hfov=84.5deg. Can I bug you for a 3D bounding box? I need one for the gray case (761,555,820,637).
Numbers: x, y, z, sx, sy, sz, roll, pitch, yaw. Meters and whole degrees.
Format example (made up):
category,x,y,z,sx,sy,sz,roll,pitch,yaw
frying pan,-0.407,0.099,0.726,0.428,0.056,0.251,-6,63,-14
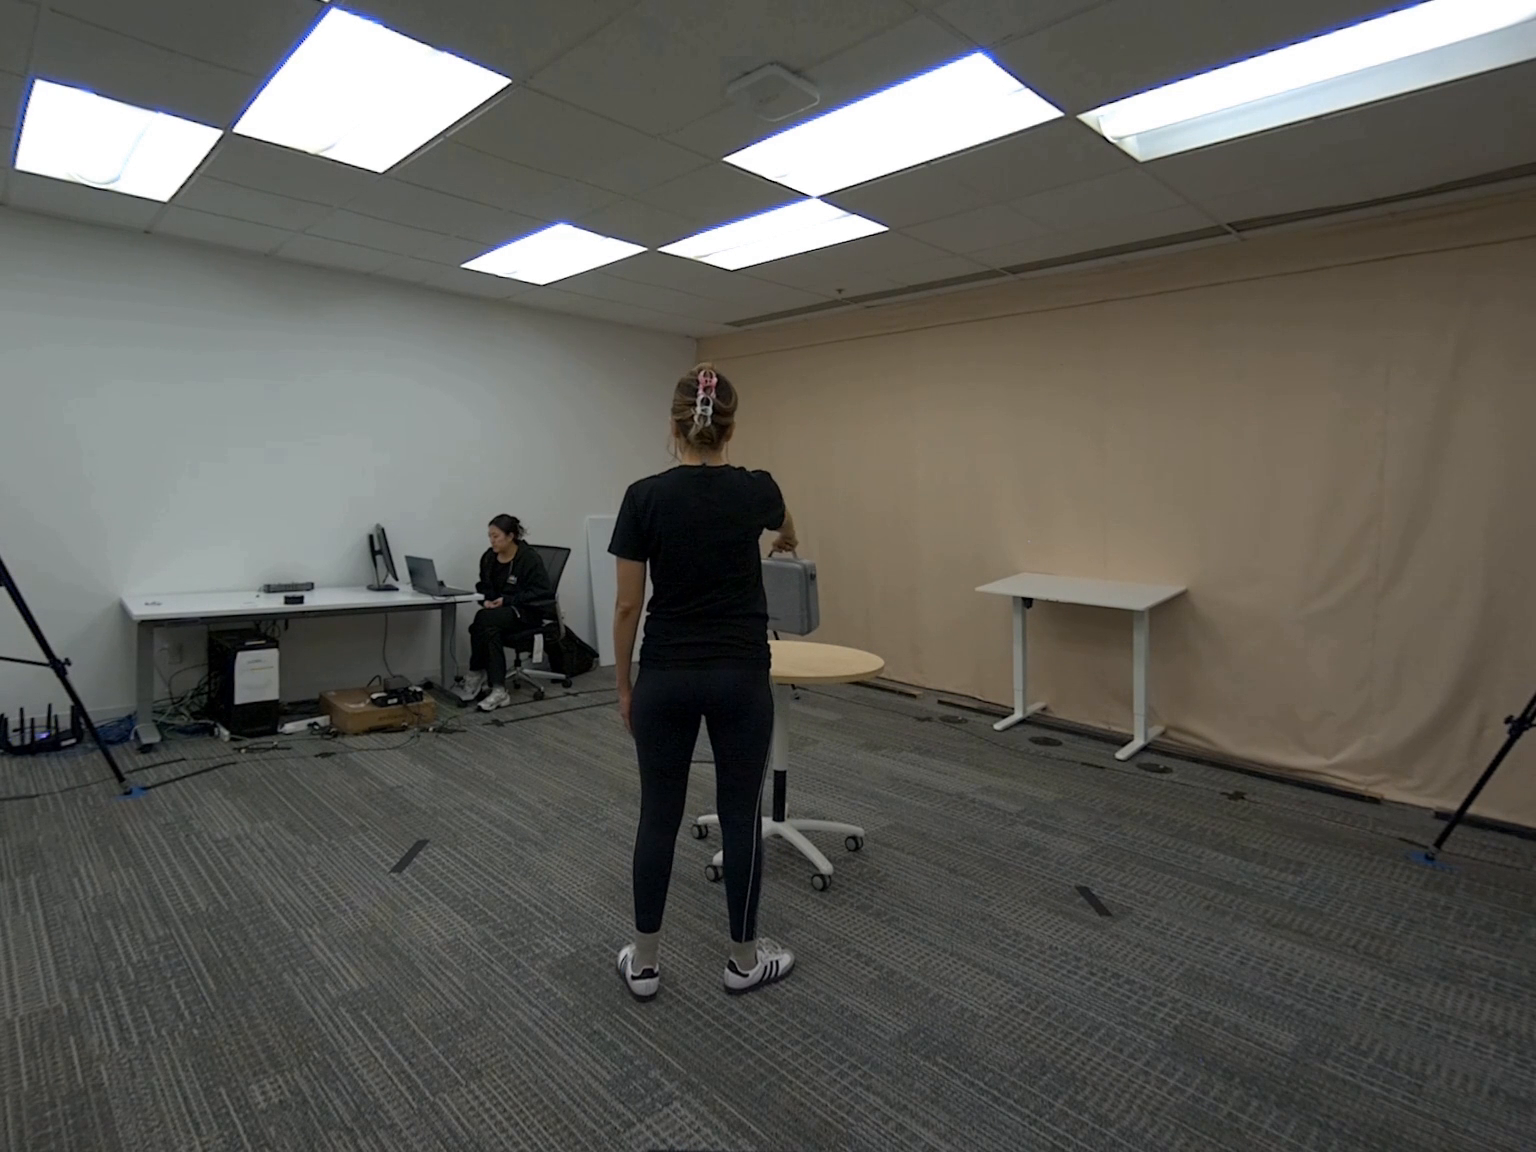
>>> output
category,x,y,z,sx,sy,sz,roll,pitch,yaw
gray case,0.038,0.062,2.915,0.263,0.258,0.102,7,13,39
